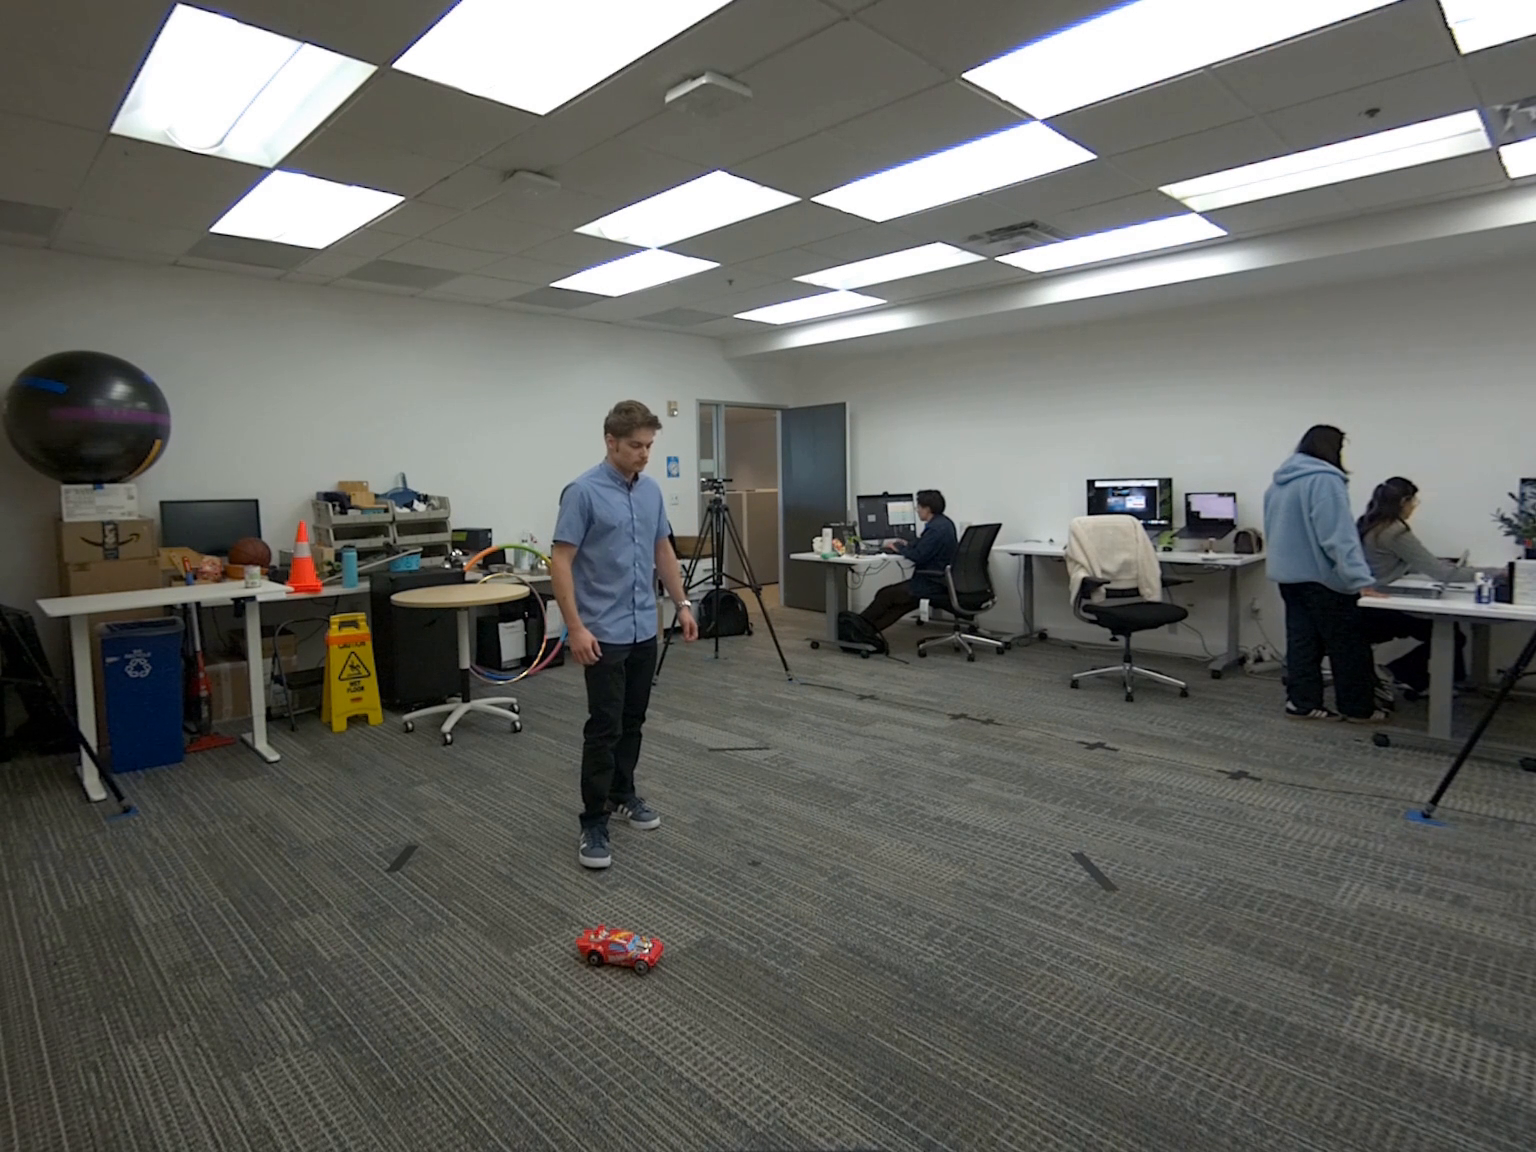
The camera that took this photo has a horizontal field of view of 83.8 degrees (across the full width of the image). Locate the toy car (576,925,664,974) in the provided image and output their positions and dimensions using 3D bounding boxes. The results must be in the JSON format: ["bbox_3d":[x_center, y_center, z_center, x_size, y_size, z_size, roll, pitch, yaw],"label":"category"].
[{"bbox_3d":[-0.437,1.094,2.498,0.259,0.083,0.129,12,9,16],"label":"toy car"}]
